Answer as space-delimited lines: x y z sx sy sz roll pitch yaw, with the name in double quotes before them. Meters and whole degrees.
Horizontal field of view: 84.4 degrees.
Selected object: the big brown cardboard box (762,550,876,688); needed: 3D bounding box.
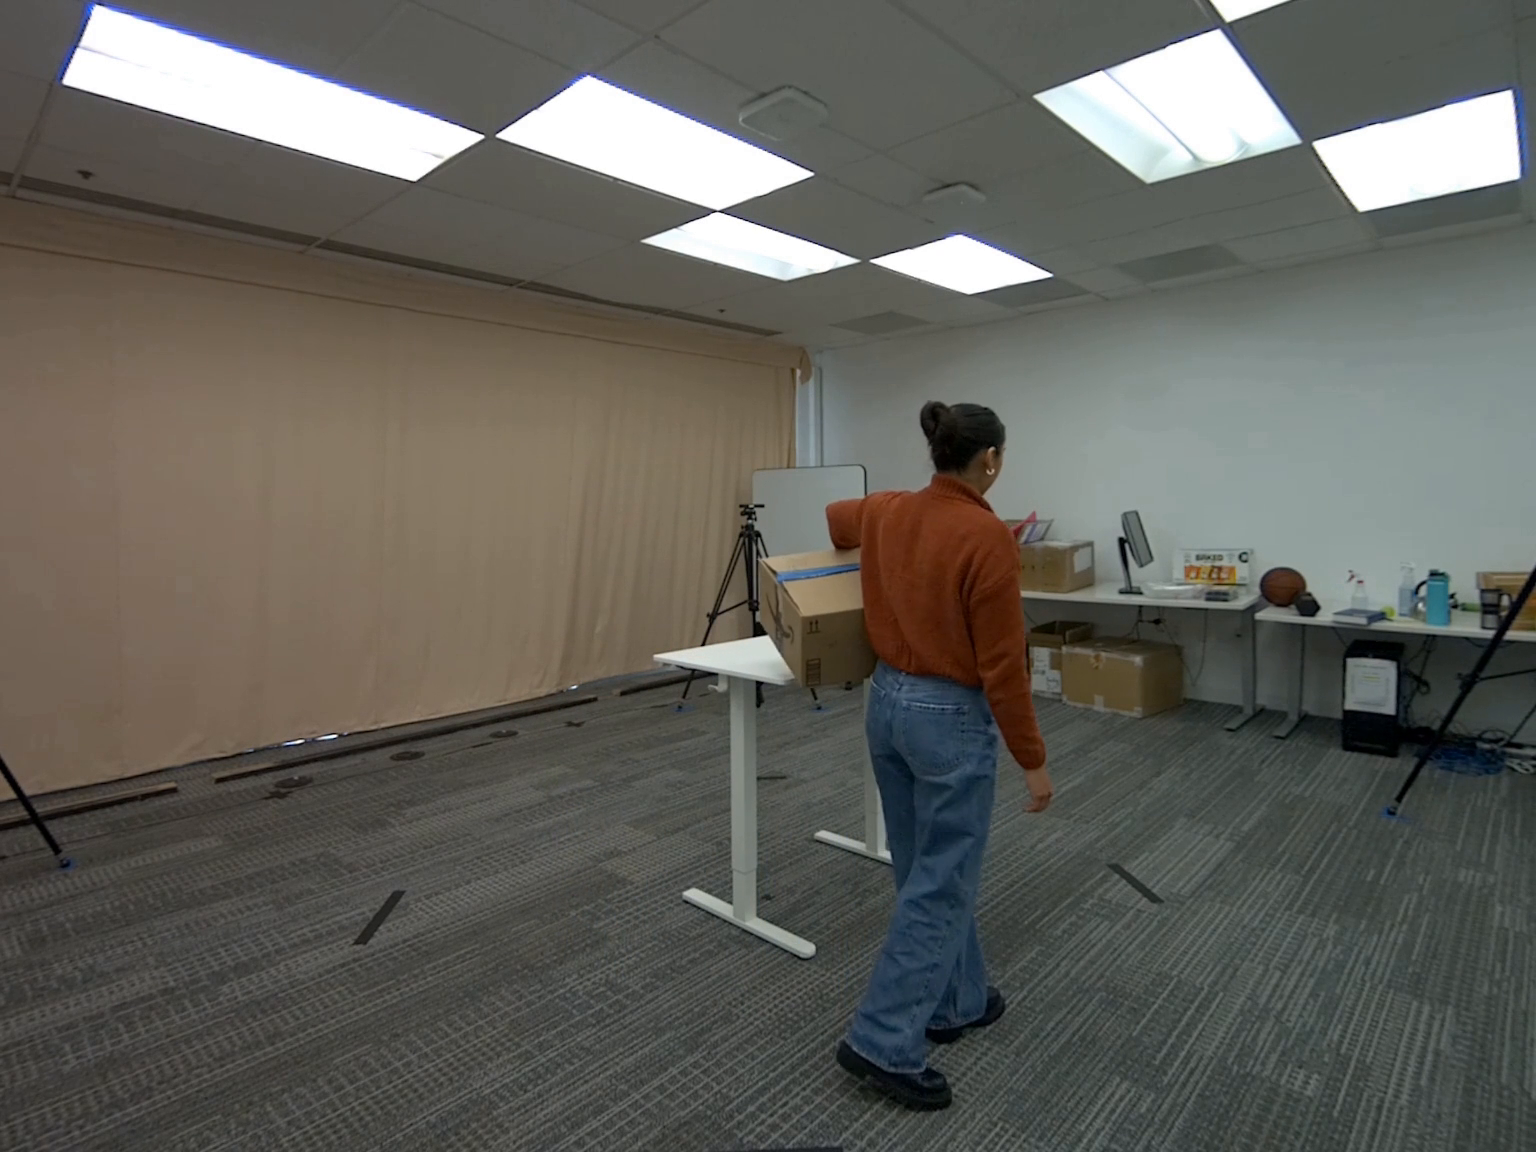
"big brown cardboard box" 0.309 0.090 2.409 0.582 0.230 0.429 -9 24 -12
